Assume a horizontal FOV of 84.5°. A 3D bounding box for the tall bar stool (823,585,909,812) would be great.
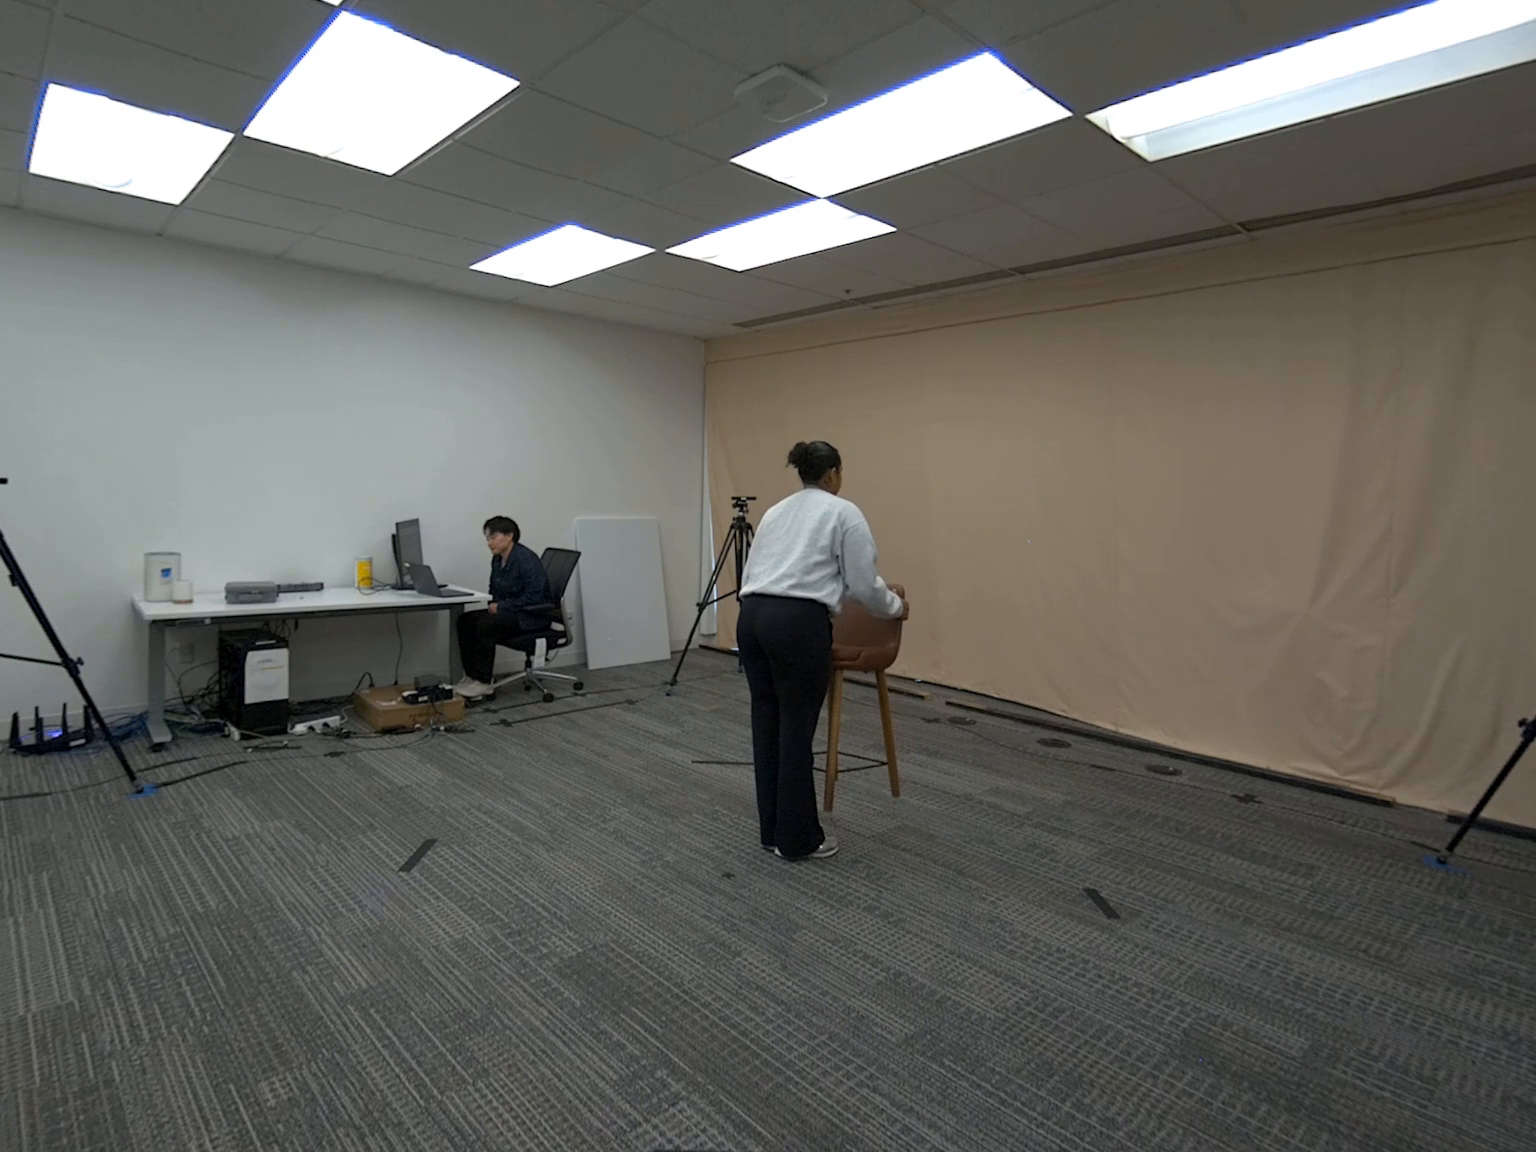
[{"bbox_3d":[0.275,0.474,3.497,0.456,0.892,0.467,5,-5,-41],"label":"tall bar stool"}]
